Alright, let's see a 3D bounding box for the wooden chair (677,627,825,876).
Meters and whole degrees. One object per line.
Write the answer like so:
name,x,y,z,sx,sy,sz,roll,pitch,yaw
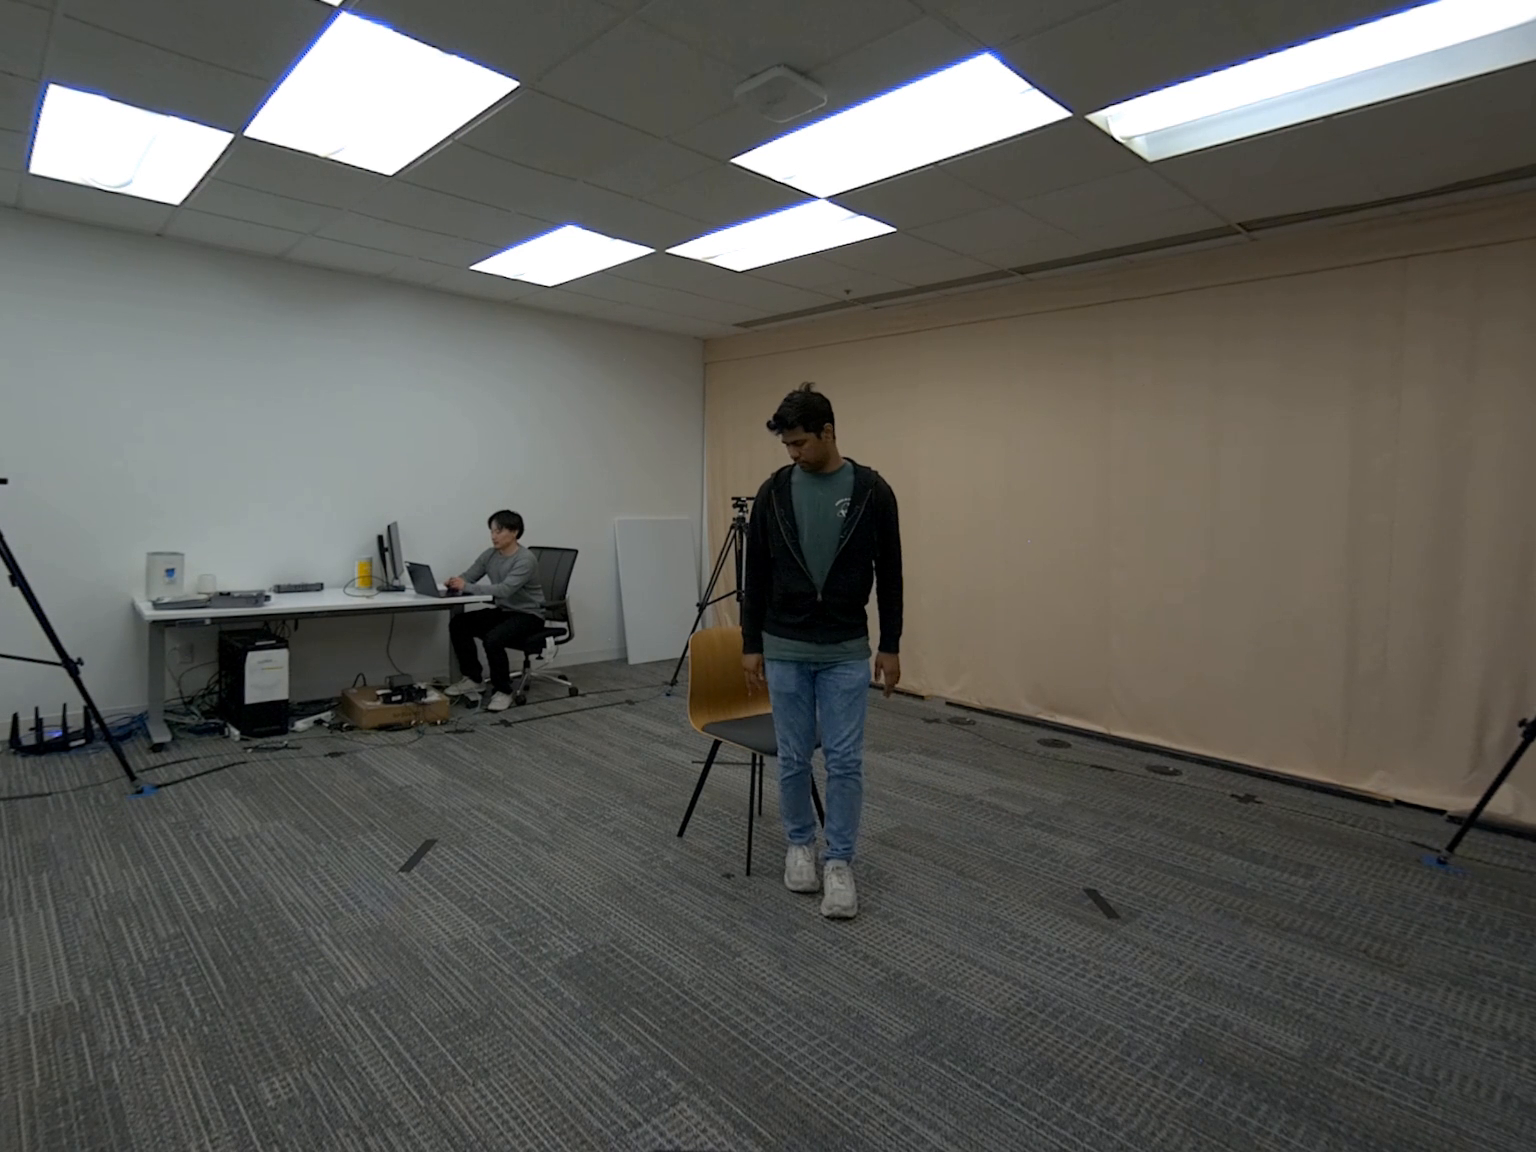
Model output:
wooden chair,-0.050,0.659,3.379,0.467,0.878,0.535,0,-1,-40
